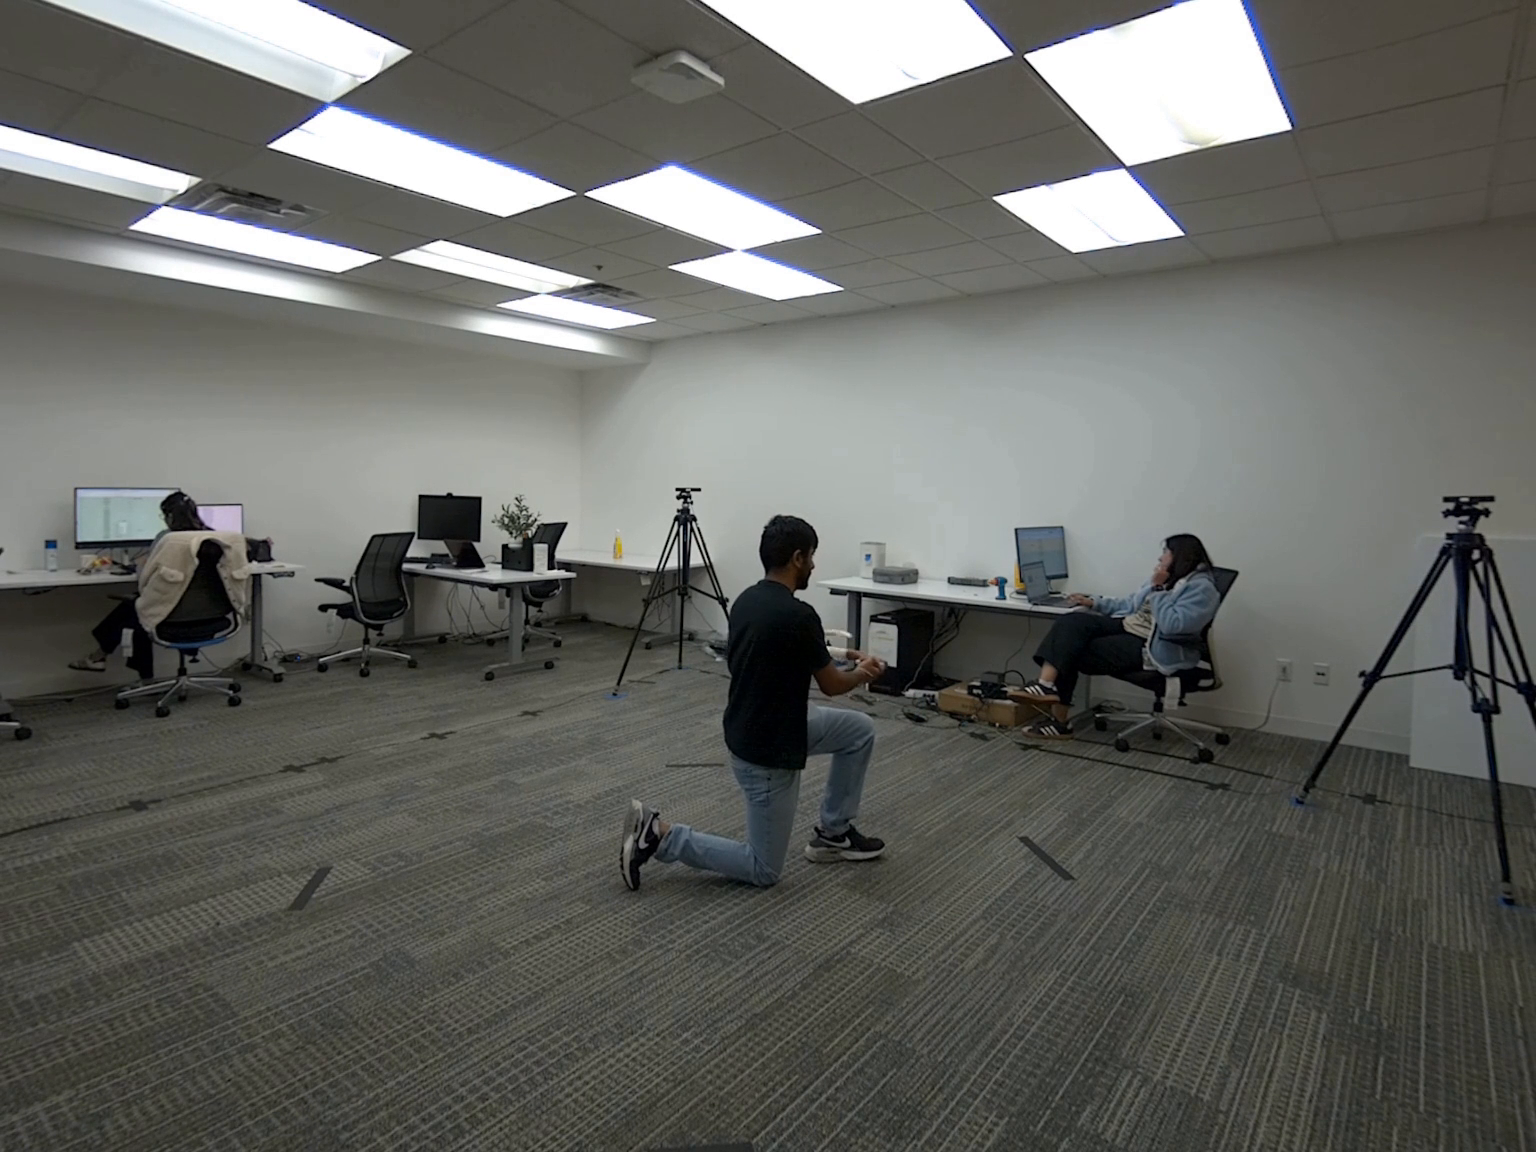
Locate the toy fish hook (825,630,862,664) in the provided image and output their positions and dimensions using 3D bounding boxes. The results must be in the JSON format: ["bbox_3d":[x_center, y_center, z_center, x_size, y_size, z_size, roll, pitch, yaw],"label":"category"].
[{"bbox_3d":[0.310,0.293,3.405,0.221,0.047,0.525,-25,22,-30],"label":"toy fish hook"}]
